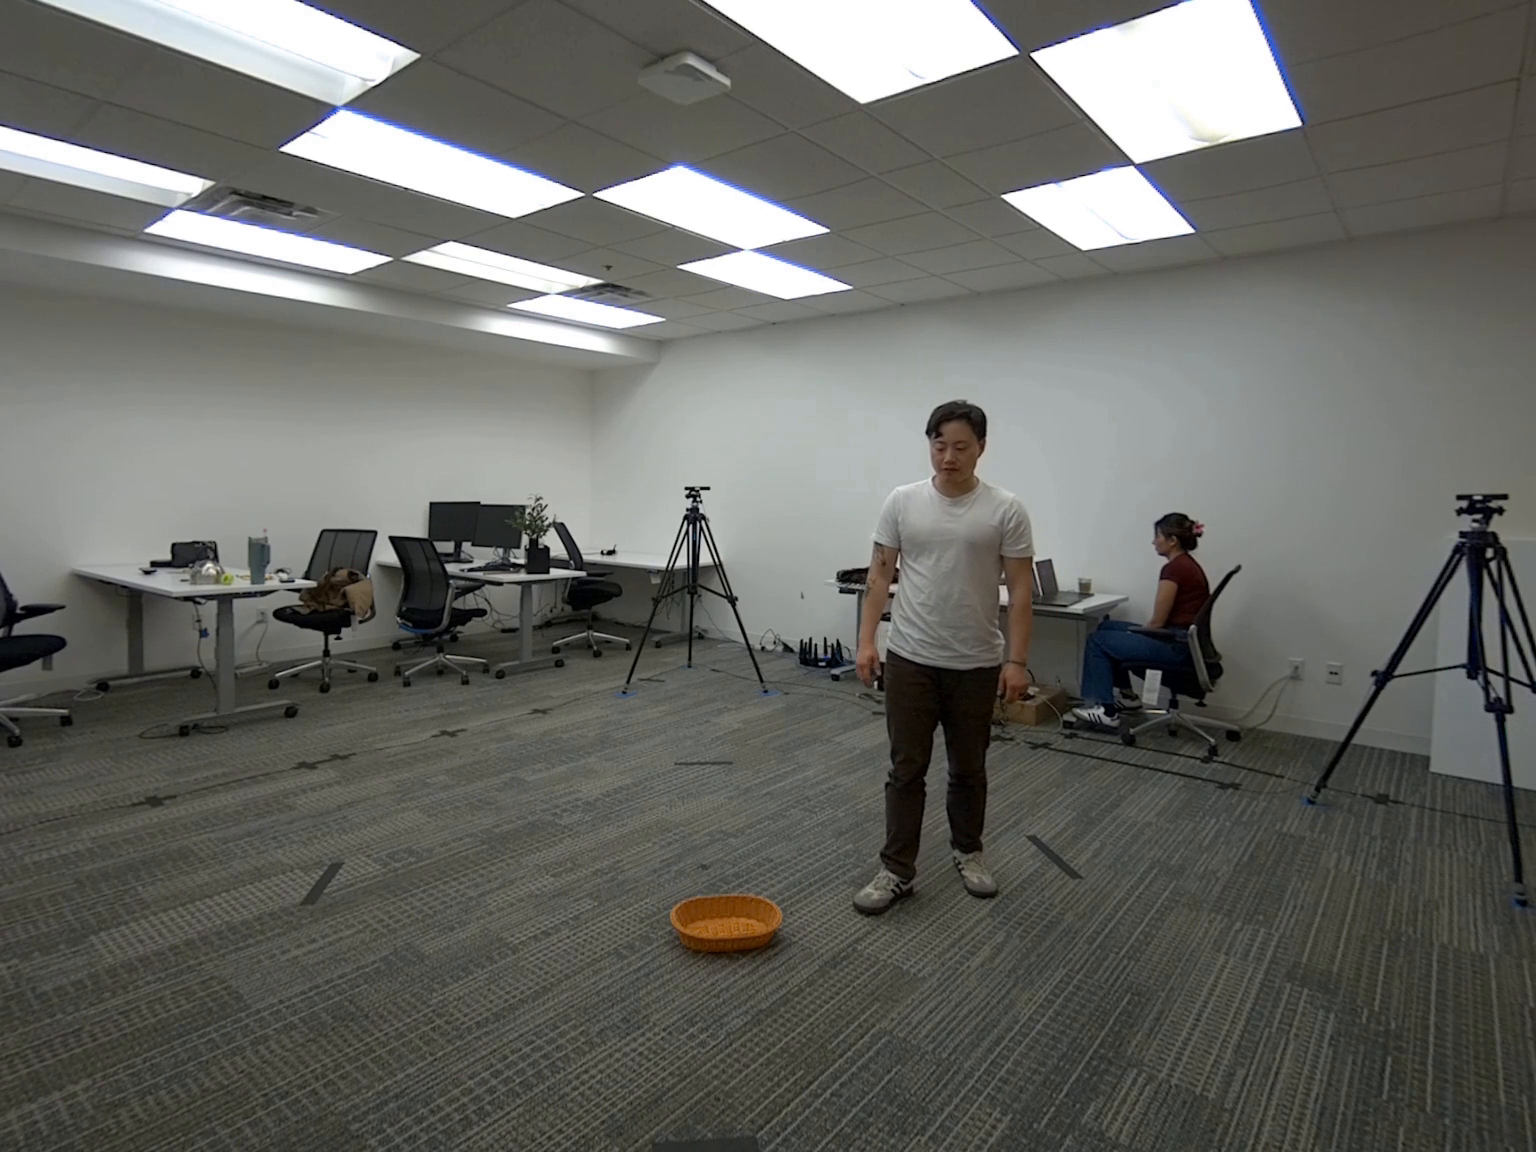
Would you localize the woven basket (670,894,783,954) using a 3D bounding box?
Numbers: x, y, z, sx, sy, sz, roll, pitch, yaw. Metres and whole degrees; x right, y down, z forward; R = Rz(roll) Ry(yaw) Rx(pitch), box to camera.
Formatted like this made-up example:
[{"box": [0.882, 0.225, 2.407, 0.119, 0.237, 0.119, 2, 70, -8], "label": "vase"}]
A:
[{"box": [-0.135, 1.075, 2.625, 0.347, 0.073, 0.256, 0, 6, -9], "label": "woven basket"}]
